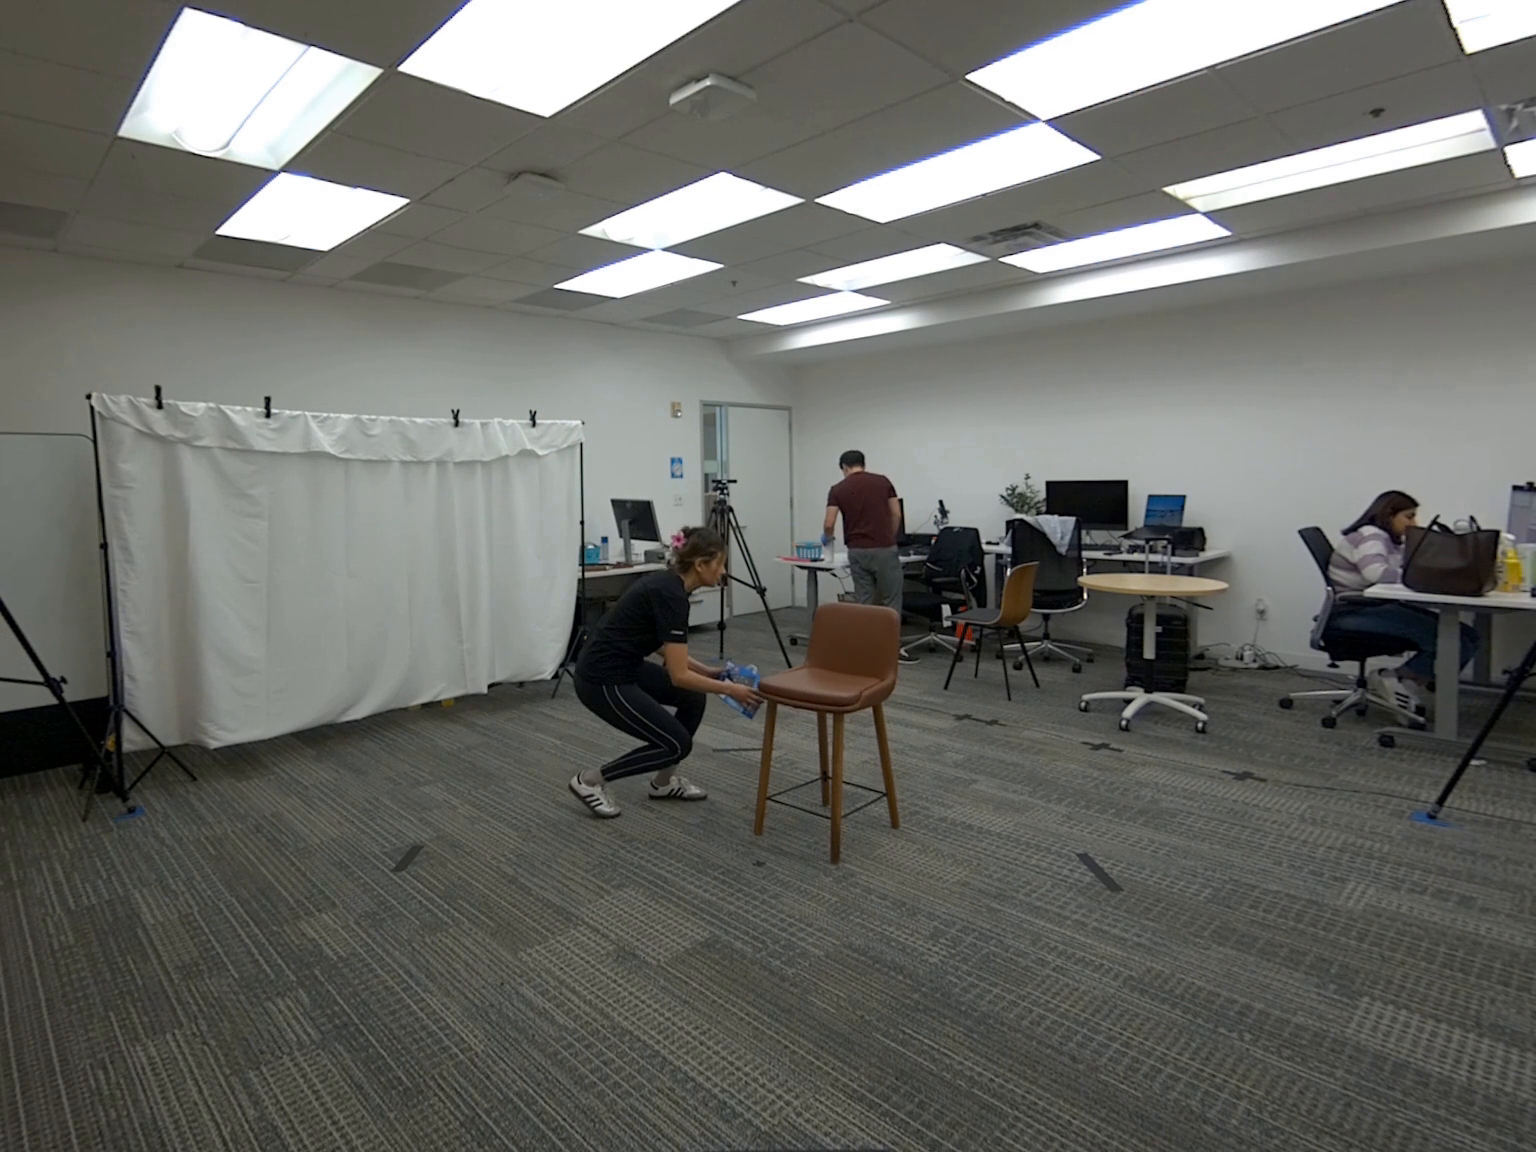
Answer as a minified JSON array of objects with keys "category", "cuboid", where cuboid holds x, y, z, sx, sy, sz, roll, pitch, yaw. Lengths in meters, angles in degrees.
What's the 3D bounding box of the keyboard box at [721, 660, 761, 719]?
[{"category":"keyboard box","cuboid":[-0.132,0.499,3.819,0.058,0.176,0.446,35,-7,-21]}]
